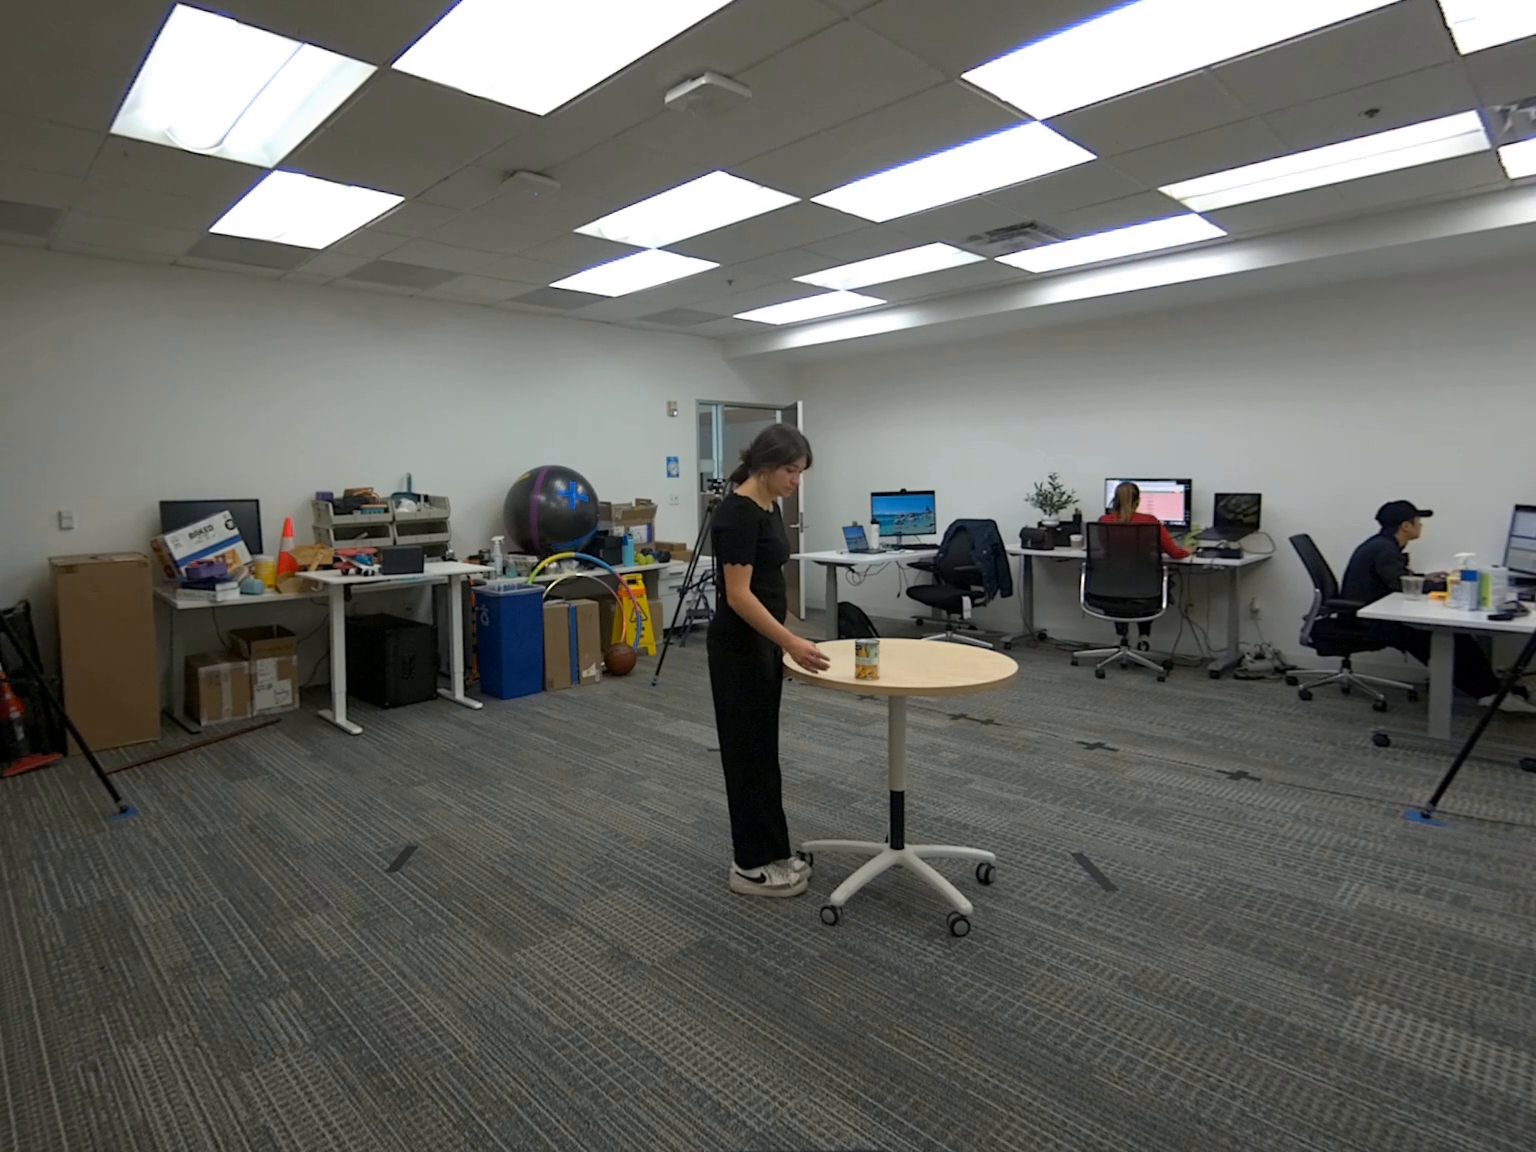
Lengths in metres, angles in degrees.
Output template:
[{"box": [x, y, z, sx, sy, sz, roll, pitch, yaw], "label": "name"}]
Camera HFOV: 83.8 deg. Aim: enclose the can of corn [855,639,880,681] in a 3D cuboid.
[{"box": [0.306, 0.254, 2.598, 0.074, 0.110, 0.075, 0, 7, -2], "label": "can of corn"}]
